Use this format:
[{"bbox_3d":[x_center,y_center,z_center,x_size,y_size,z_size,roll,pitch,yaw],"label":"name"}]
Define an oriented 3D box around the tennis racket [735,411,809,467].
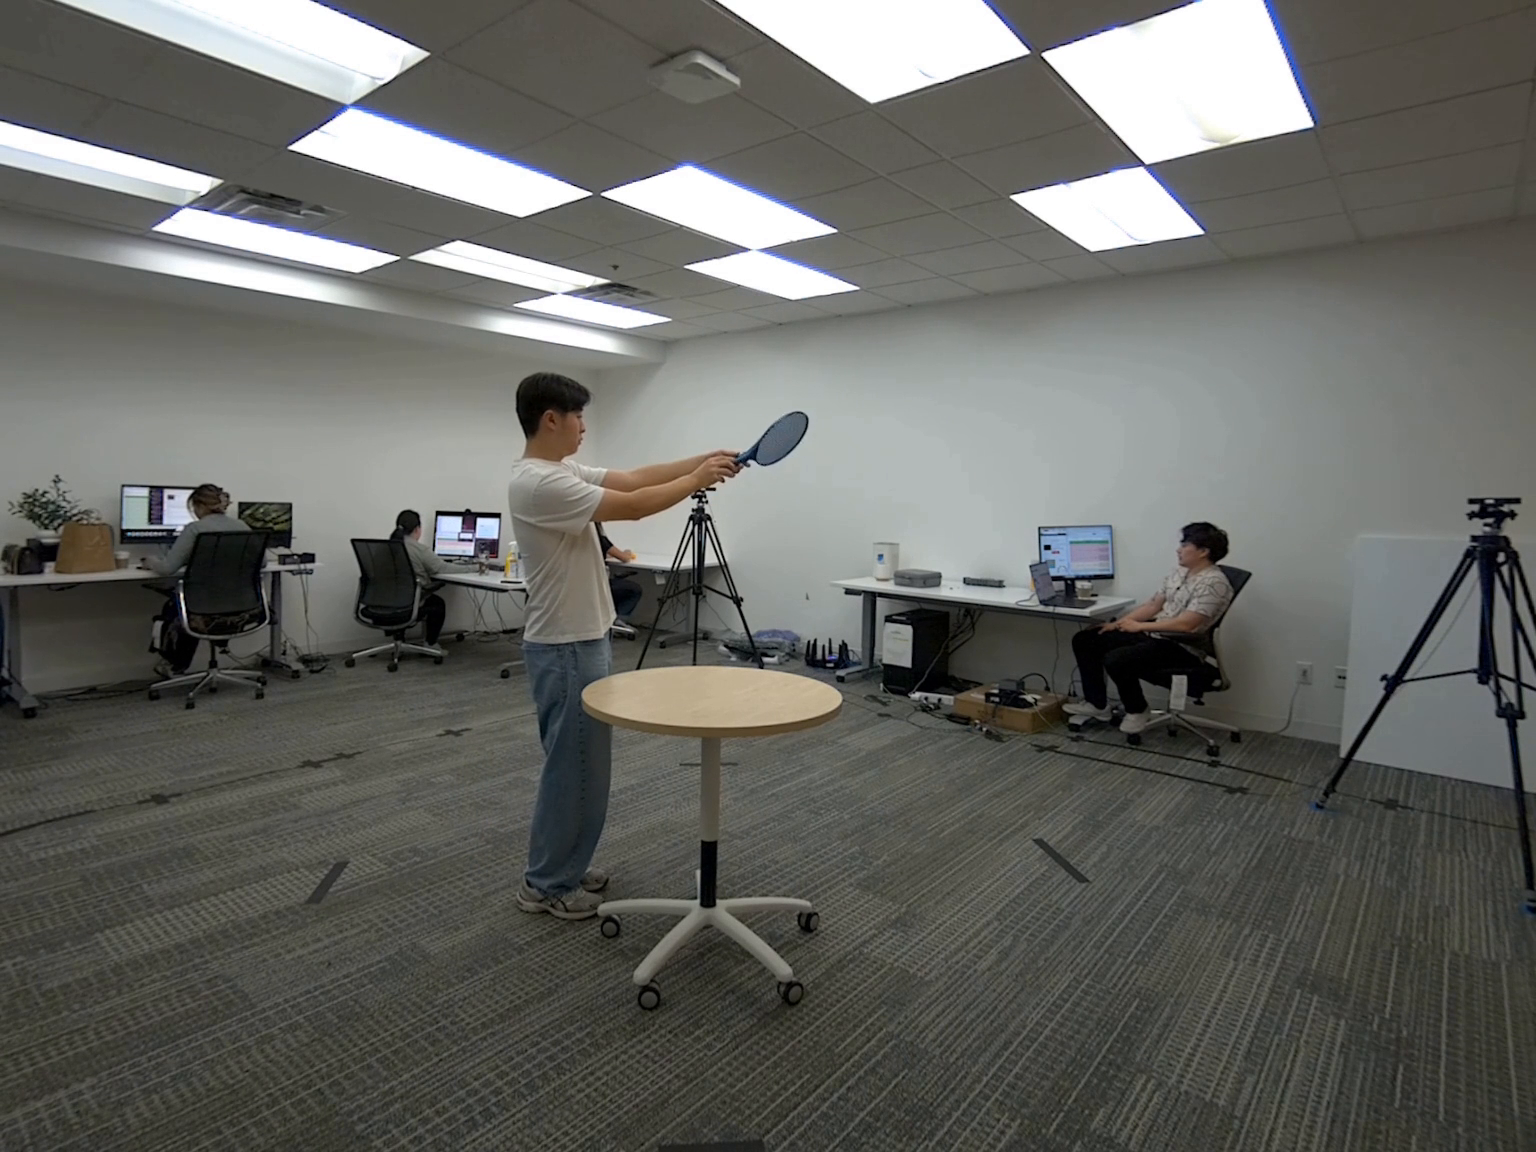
[{"bbox_3d":[-0.007,-0.448,2.936,0.033,0.209,0.428,36,47,24],"label":"tennis racket"}]
